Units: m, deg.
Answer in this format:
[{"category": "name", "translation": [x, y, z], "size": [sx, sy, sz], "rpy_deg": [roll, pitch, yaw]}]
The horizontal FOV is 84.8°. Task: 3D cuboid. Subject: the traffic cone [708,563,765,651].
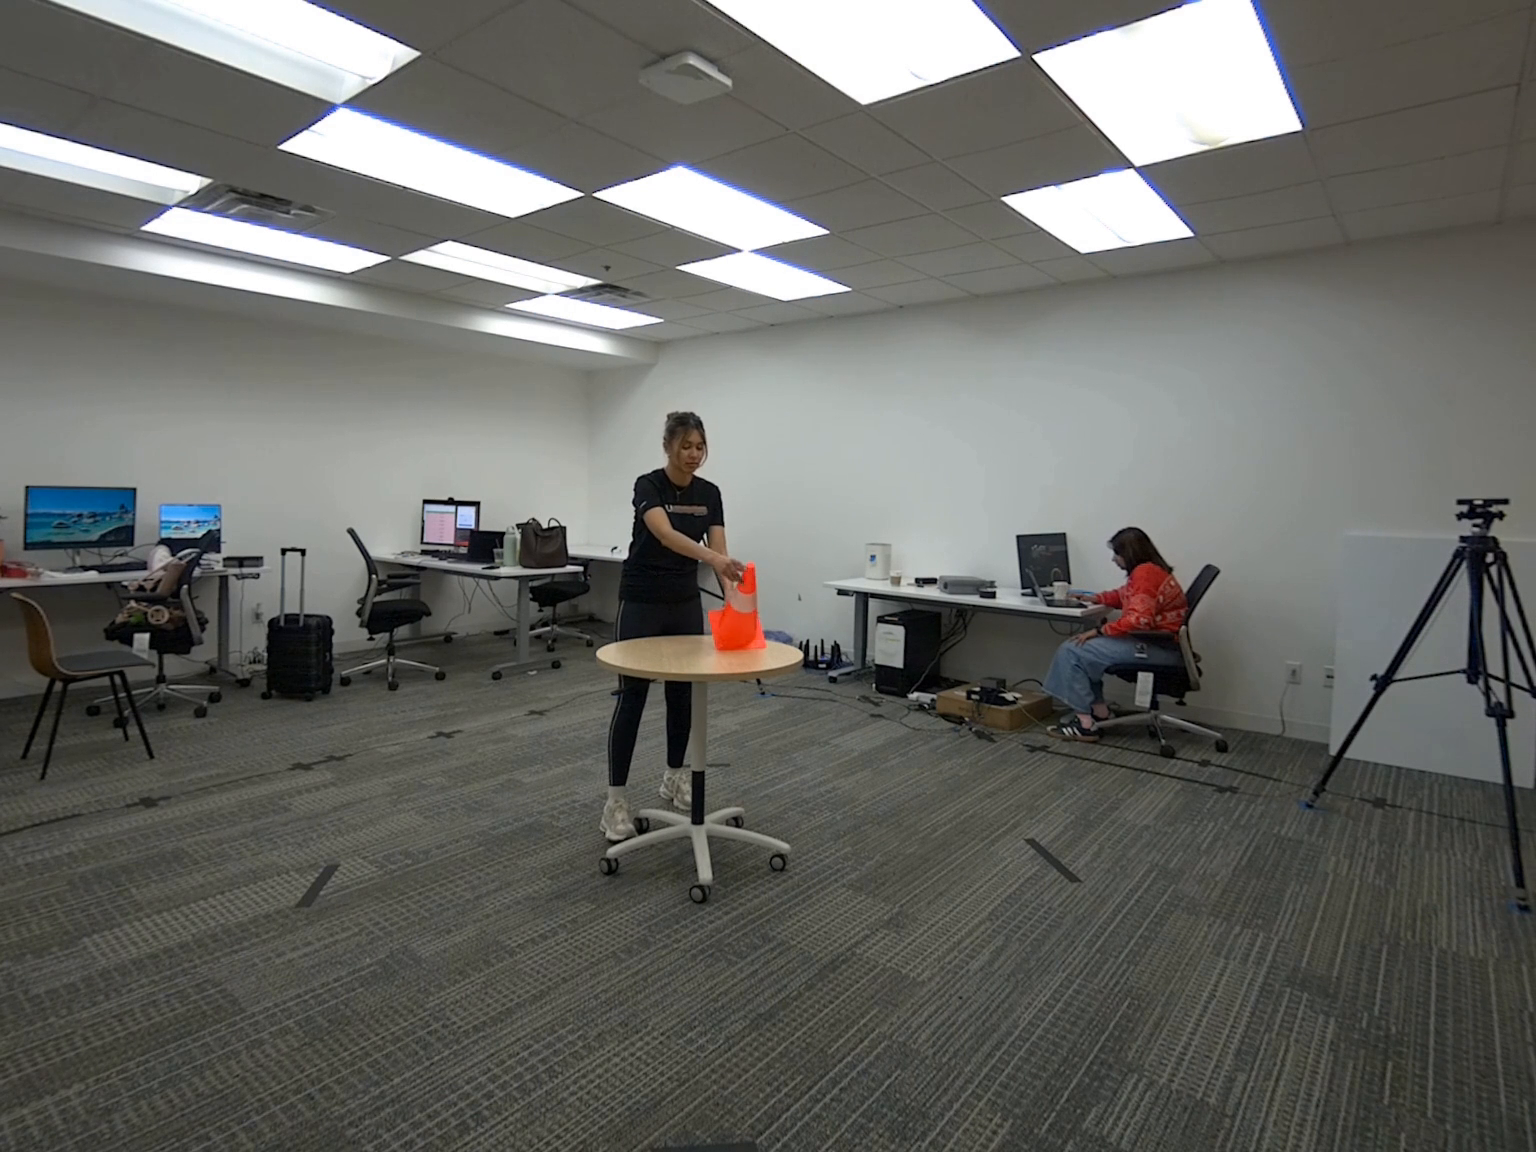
[{"category": "traffic cone", "translation": [-0.102, 0.082, 3.148], "size": [0.202, 0.210, 0.375], "rpy_deg": [1, -42, -12]}]
